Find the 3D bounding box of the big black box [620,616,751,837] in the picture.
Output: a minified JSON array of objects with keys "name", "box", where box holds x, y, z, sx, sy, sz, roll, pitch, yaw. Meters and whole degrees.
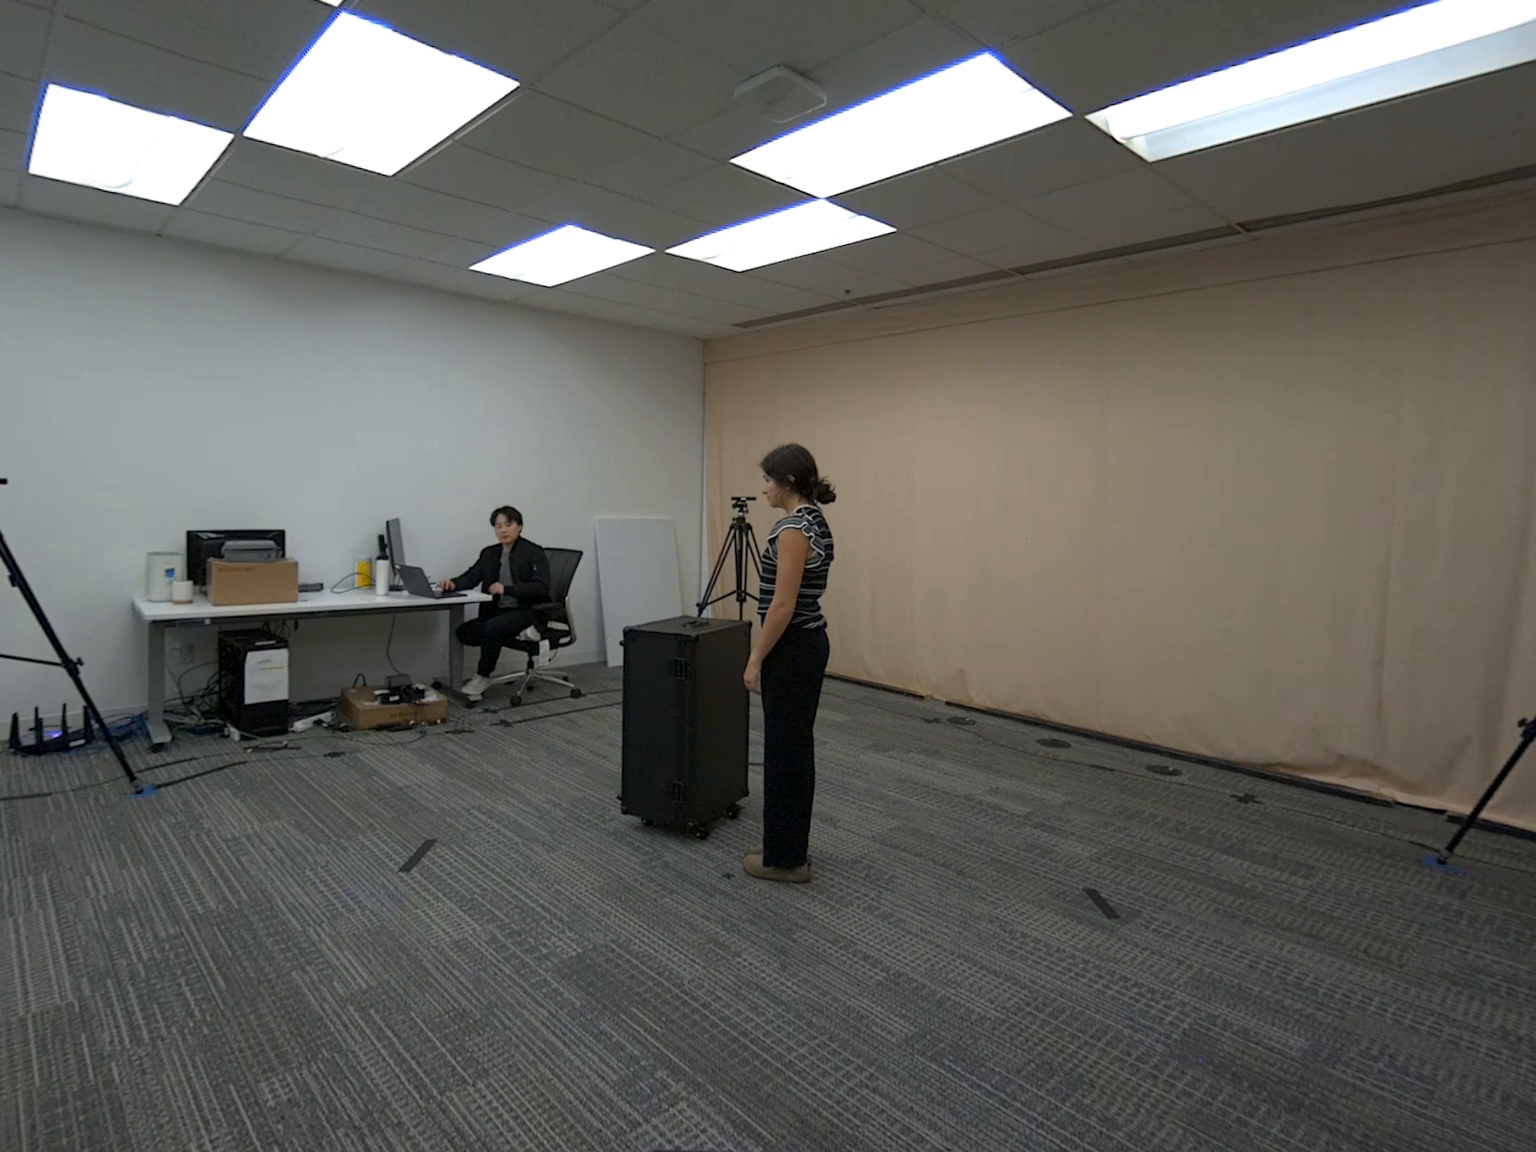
[{"name":"big black box","box":[-0.365,0.636,3.624,0.404,0.860,0.512,2,3,26]}]
